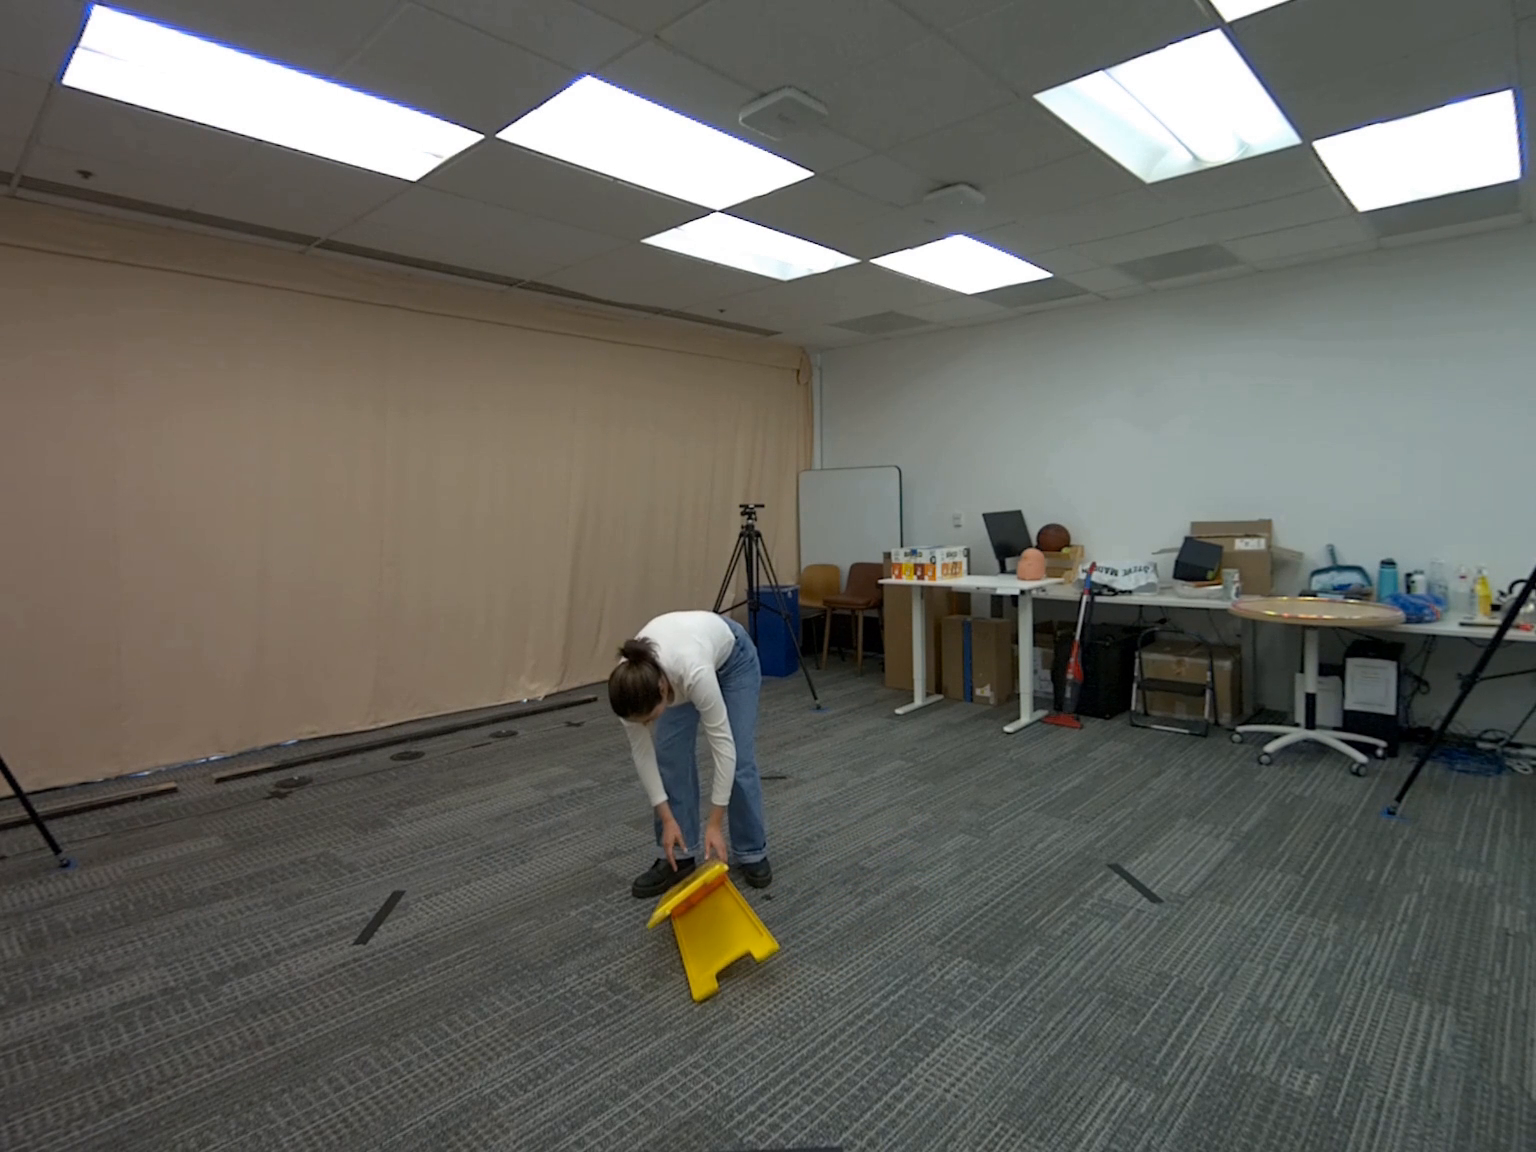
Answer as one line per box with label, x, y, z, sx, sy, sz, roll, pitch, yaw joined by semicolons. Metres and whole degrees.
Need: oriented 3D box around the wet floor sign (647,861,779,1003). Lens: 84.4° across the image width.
wet floor sign;-0.219;1.050;2.701;0.280;0.290;0.650;-33;1;-13
